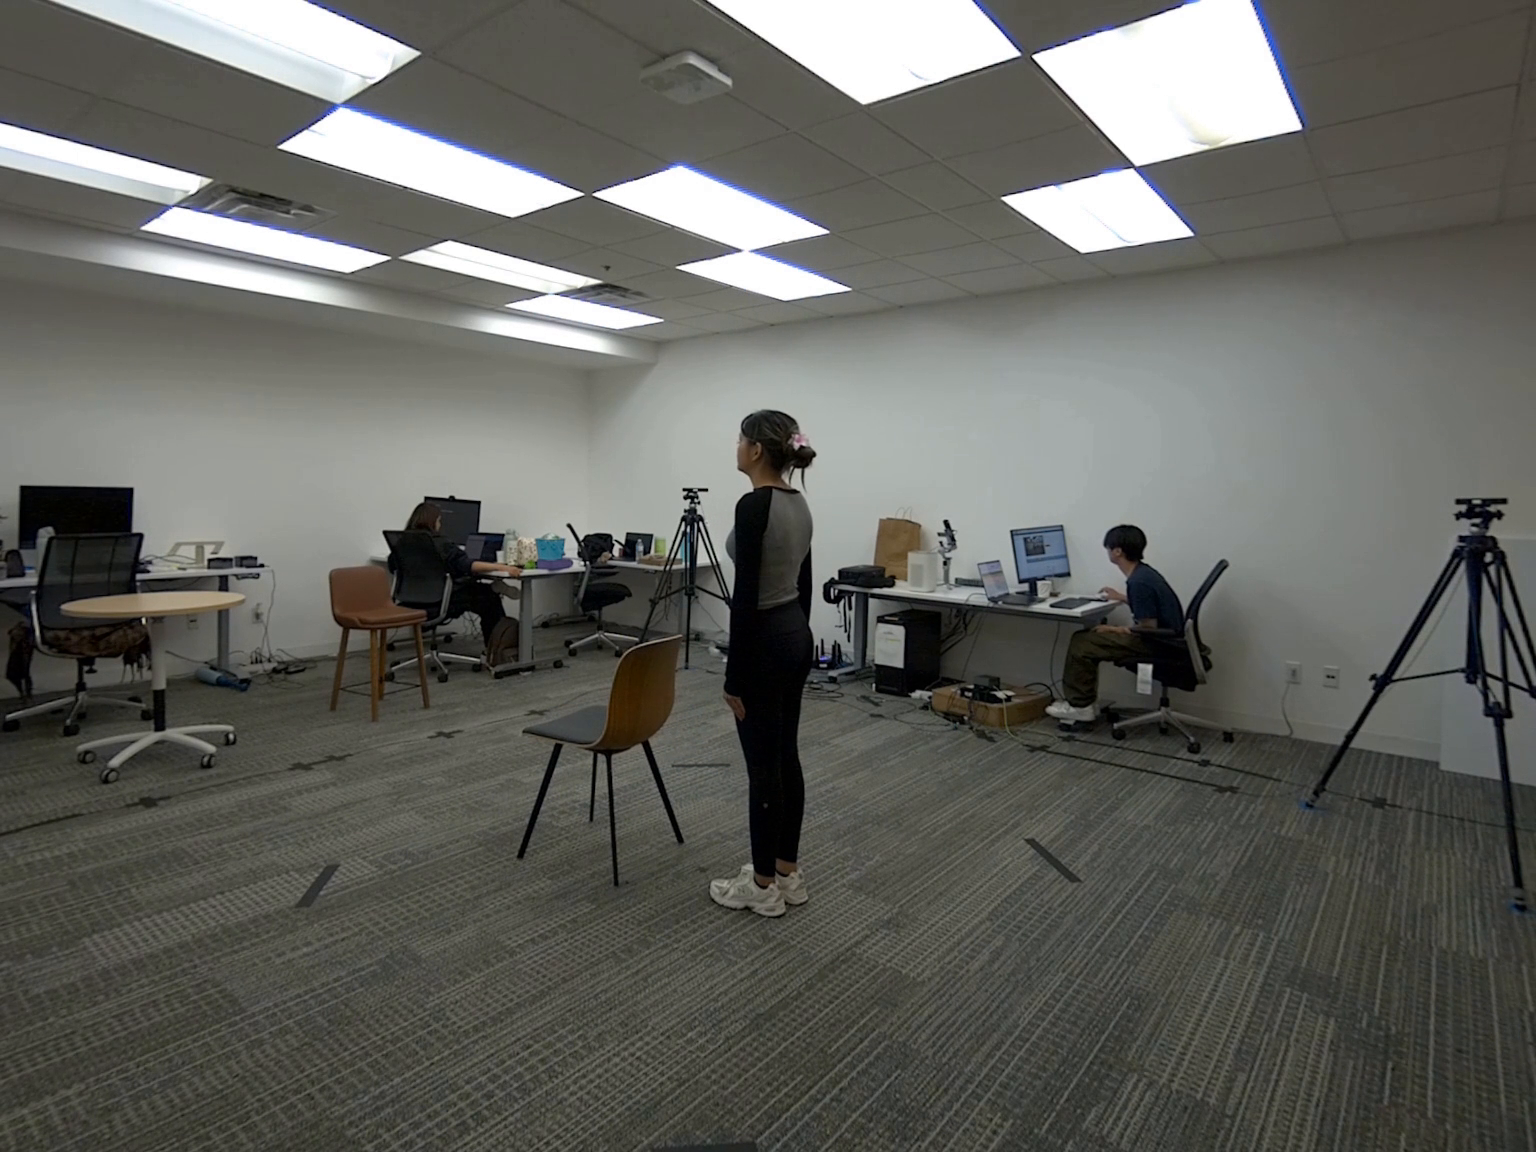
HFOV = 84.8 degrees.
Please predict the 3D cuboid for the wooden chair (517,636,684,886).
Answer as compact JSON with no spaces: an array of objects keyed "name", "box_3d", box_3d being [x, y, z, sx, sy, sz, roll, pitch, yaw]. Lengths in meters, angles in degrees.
[{"name":"wooden chair","box_3d":[-0.644,0.622,3.230,0.539,0.873,0.466,8,6,27]}]
